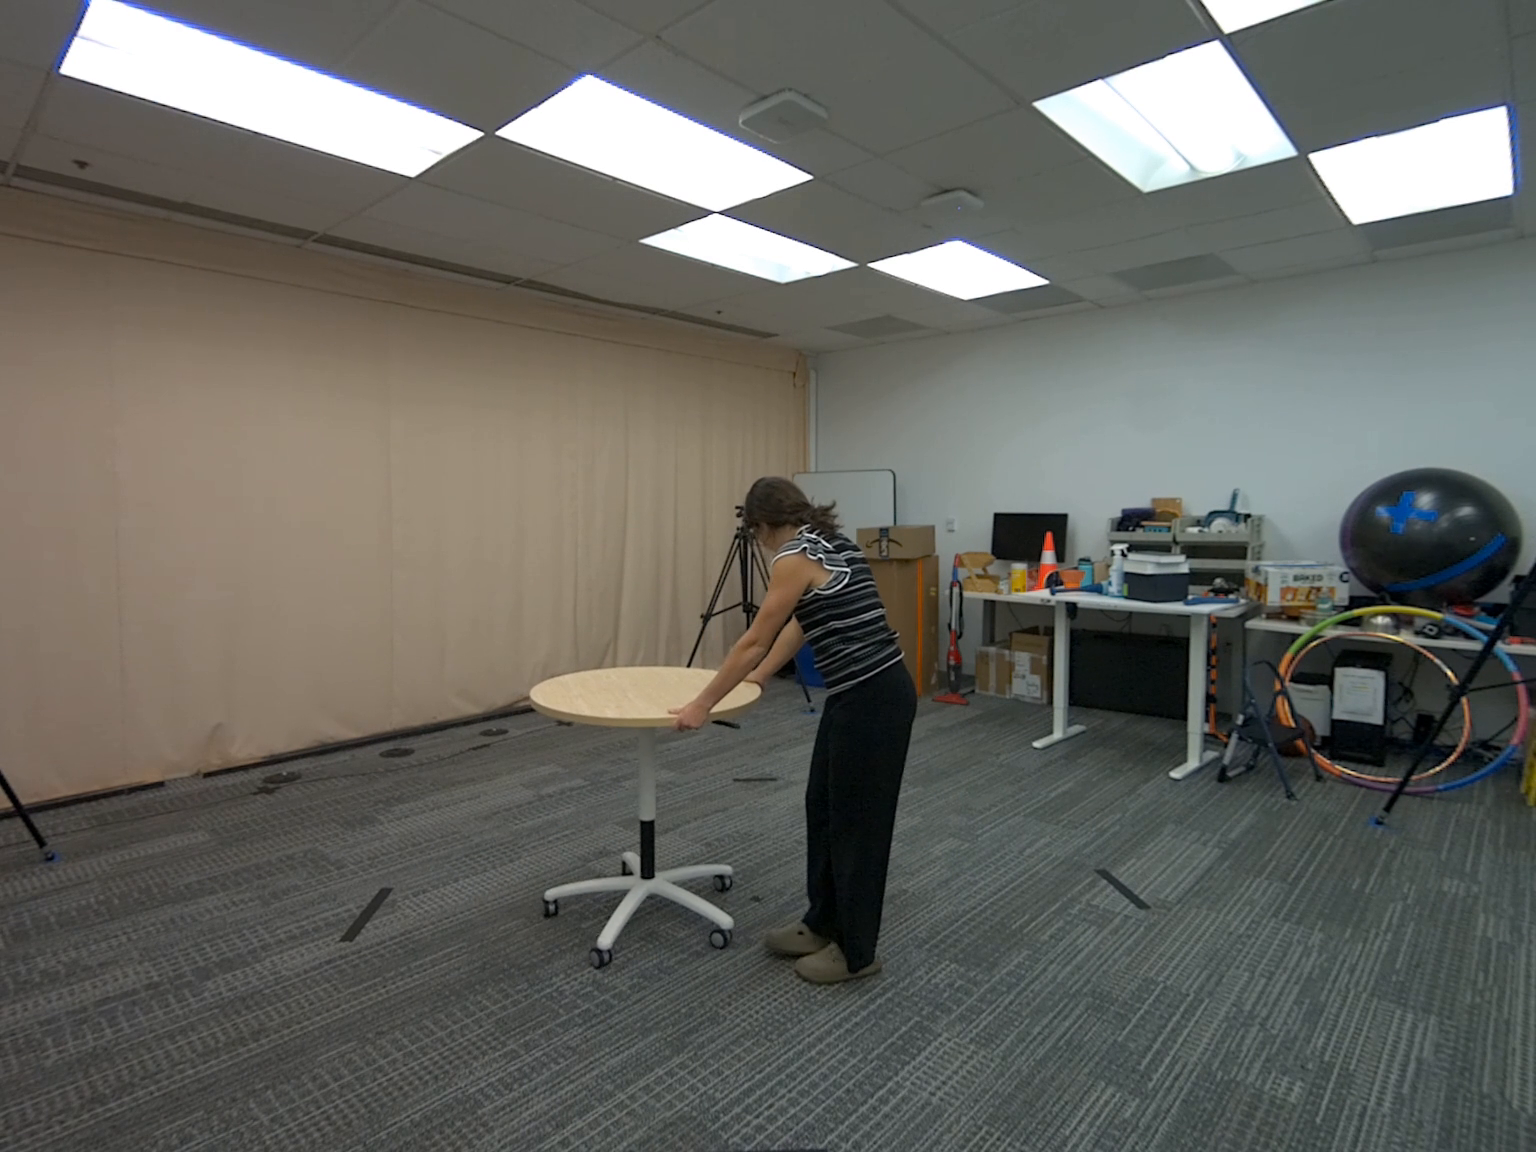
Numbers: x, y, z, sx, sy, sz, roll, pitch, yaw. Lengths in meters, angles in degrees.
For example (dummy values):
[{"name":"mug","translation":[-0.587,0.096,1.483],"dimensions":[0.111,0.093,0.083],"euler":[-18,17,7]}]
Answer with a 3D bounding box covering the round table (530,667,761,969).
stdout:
[{"name":"round table","translation":[-0.412,0.772,2.843],"dimensions":[0.763,0.792,0.767],"euler":[0,4,-2]}]
